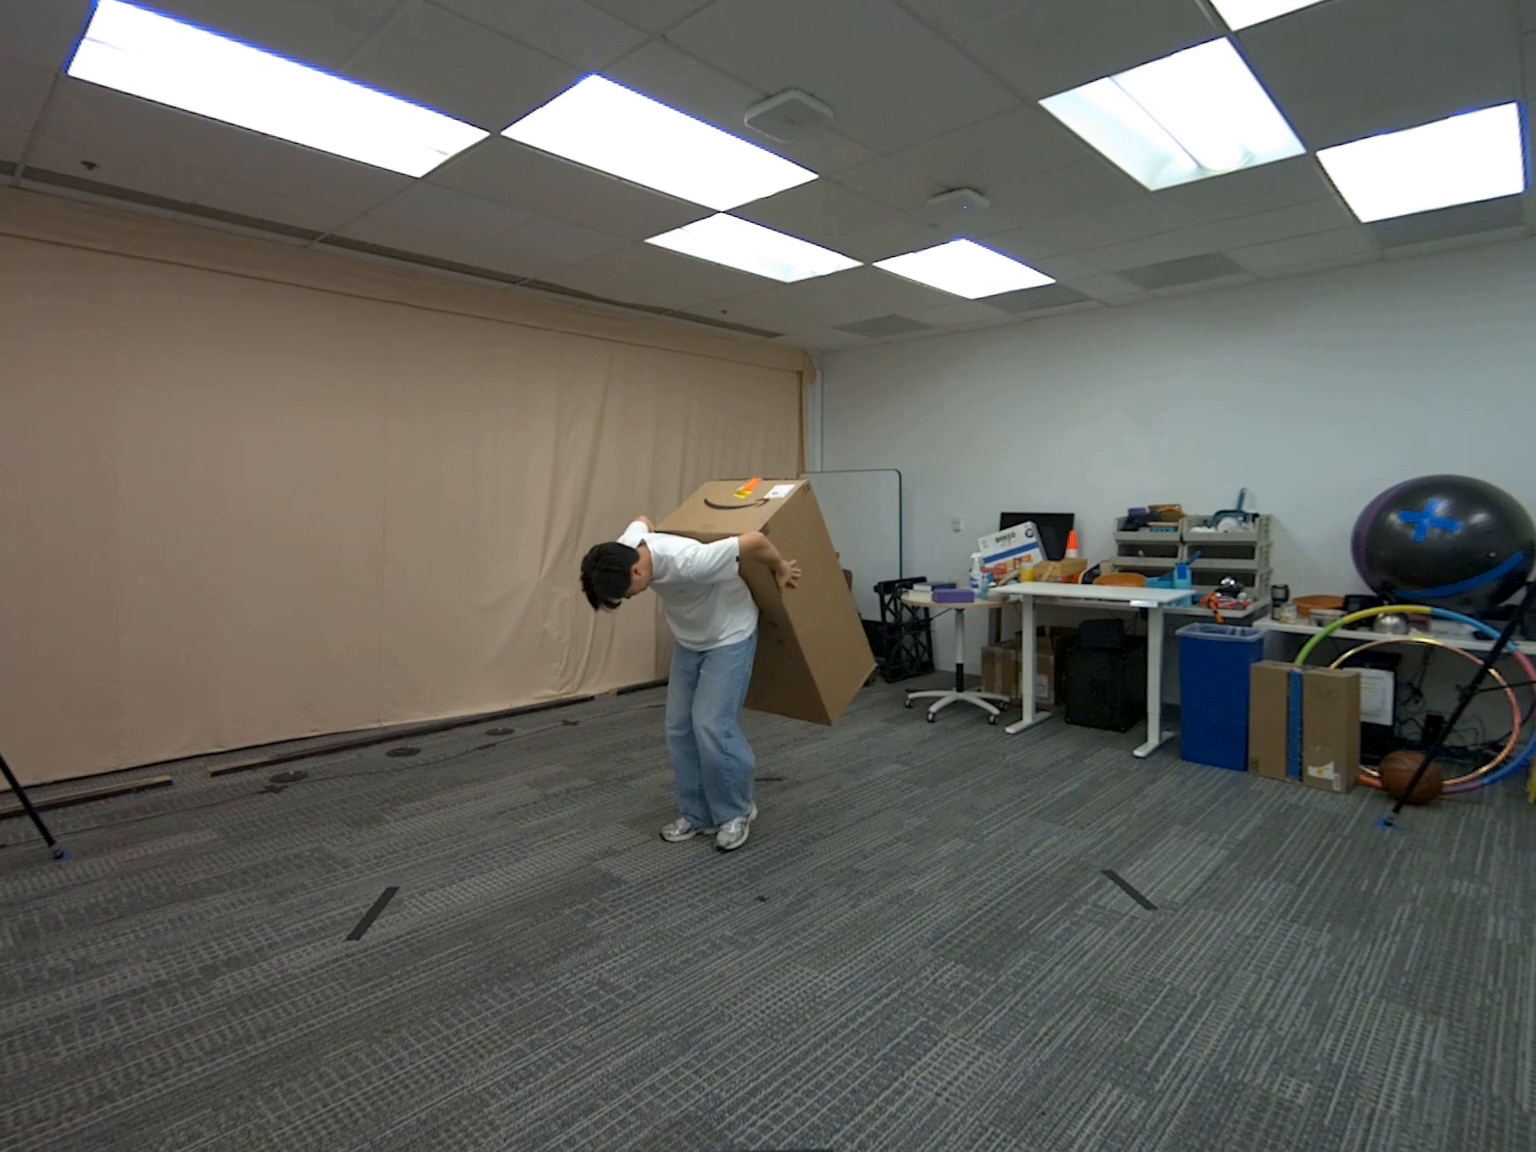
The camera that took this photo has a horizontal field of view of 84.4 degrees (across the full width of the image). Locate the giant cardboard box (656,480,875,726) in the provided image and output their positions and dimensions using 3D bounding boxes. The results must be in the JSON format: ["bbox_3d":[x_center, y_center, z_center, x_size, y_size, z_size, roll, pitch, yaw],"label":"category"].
[{"bbox_3d":[0.014,0.108,3.795,0.596,1.002,0.422,3,36,40],"label":"giant cardboard box"}]
